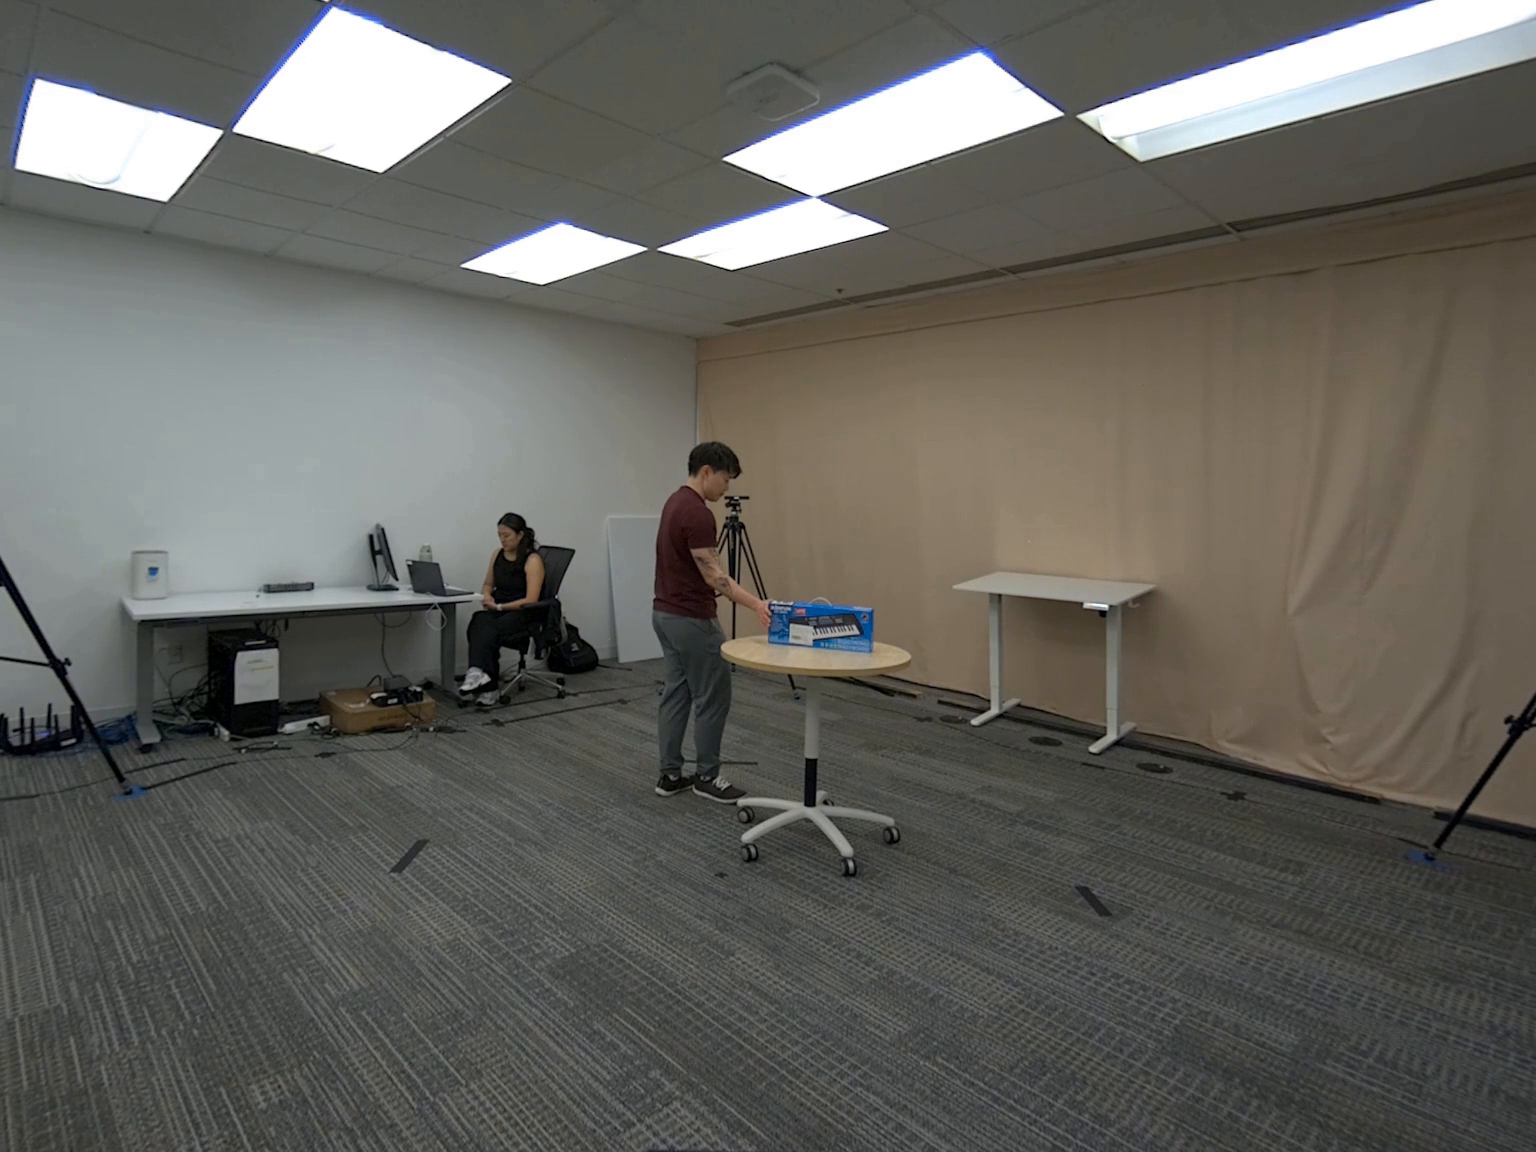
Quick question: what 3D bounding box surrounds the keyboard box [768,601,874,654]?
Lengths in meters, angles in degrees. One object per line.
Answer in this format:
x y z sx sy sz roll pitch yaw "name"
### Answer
0.213 0.209 3.490 0.444 0.175 0.058 4 11 20 "keyboard box"
